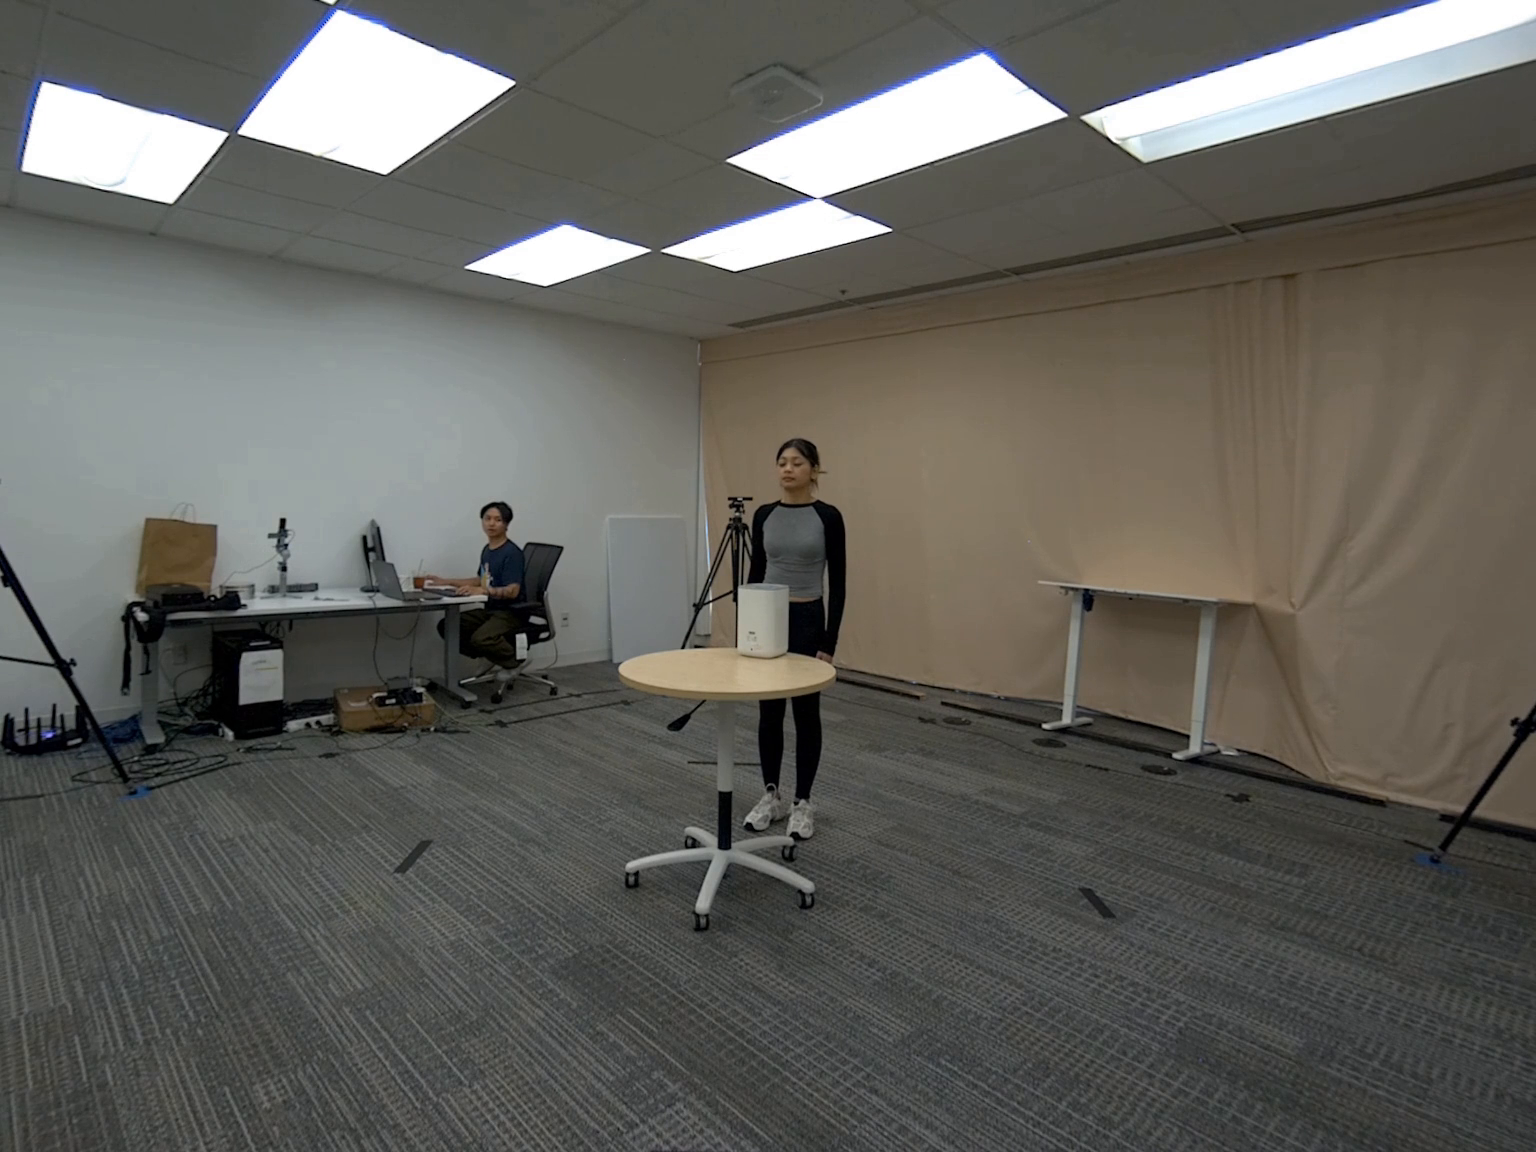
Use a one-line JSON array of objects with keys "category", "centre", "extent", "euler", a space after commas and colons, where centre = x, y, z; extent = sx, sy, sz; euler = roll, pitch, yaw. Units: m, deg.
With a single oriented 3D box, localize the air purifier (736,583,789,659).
[{"category": "air purifier", "centre": [-0.036, 0.163, 3.229], "extent": [0.175, 0.265, 0.168], "euler": [2, 4, 28]}]
